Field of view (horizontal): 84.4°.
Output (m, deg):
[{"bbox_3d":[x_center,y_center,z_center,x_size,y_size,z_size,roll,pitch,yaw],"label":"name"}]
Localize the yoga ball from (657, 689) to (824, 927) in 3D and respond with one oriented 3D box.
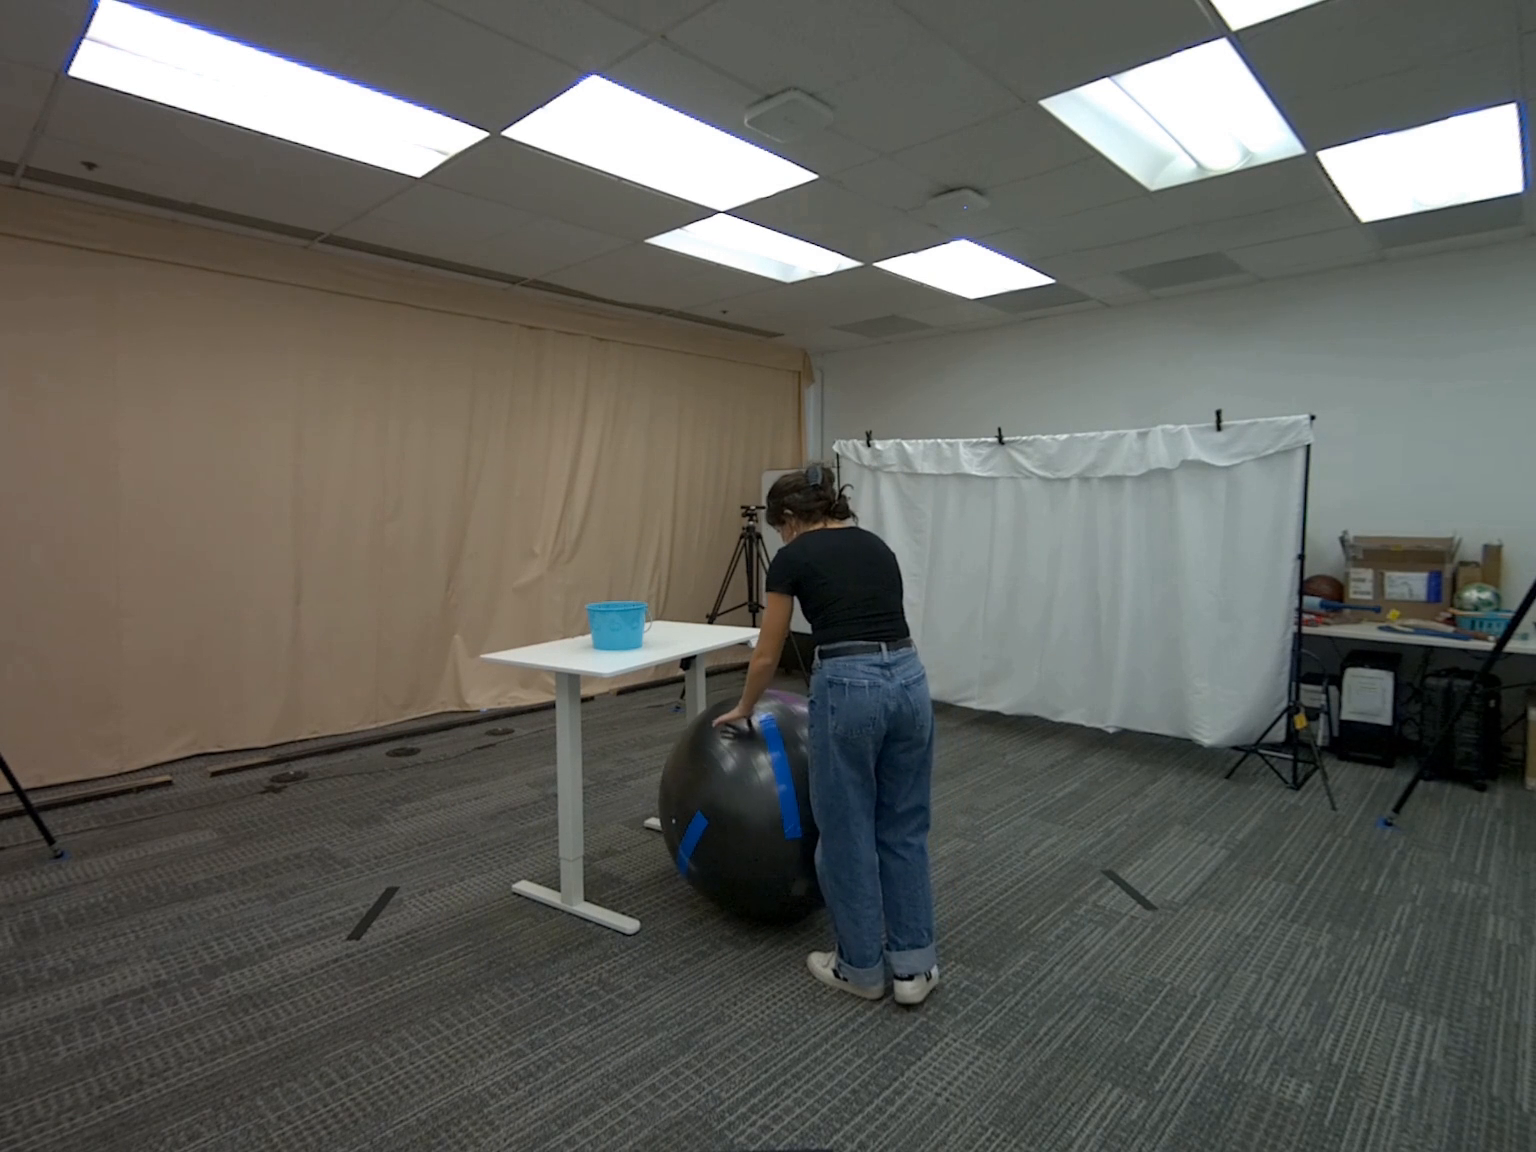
[{"bbox_3d":[0.004,0.776,2.904,0.757,0.756,0.760,0,4,-2],"label":"yoga ball"}]
